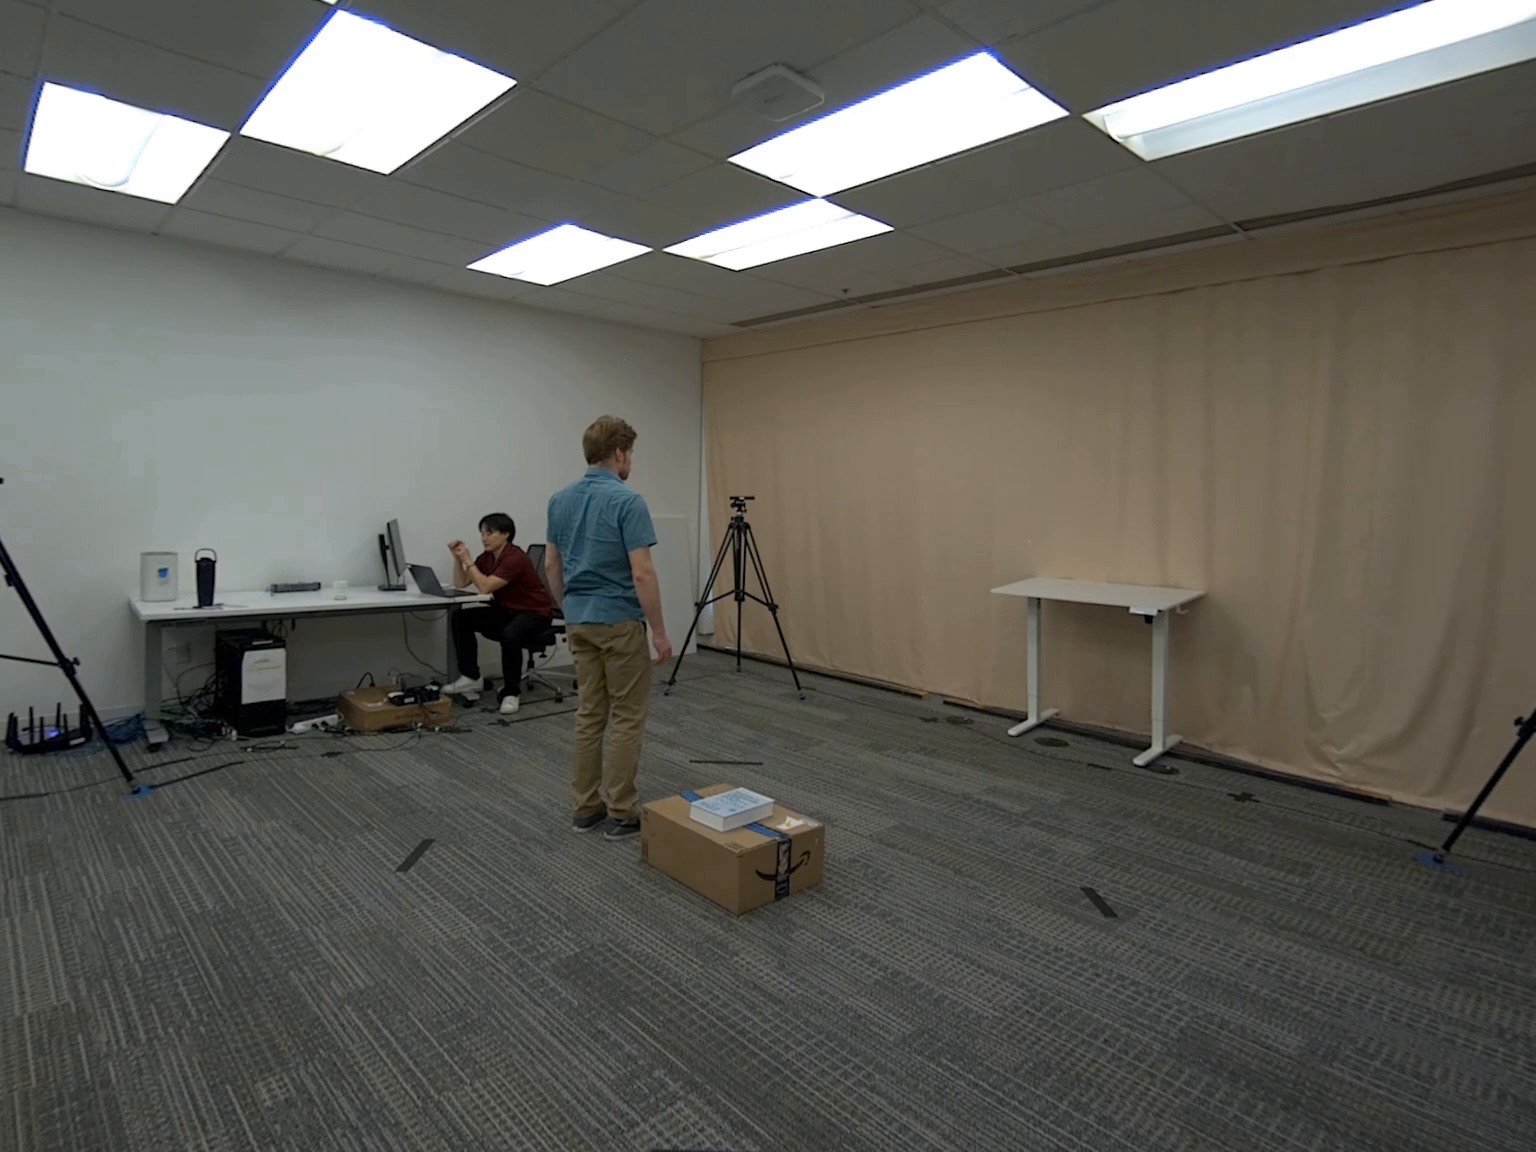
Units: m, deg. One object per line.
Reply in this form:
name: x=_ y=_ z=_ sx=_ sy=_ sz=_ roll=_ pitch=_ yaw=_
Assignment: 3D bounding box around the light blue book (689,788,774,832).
light blue book: x=-0.140 y=0.859 z=3.124 sx=0.255 sy=0.059 sz=0.196 roll=-4 pitch=7 yaw=-45
